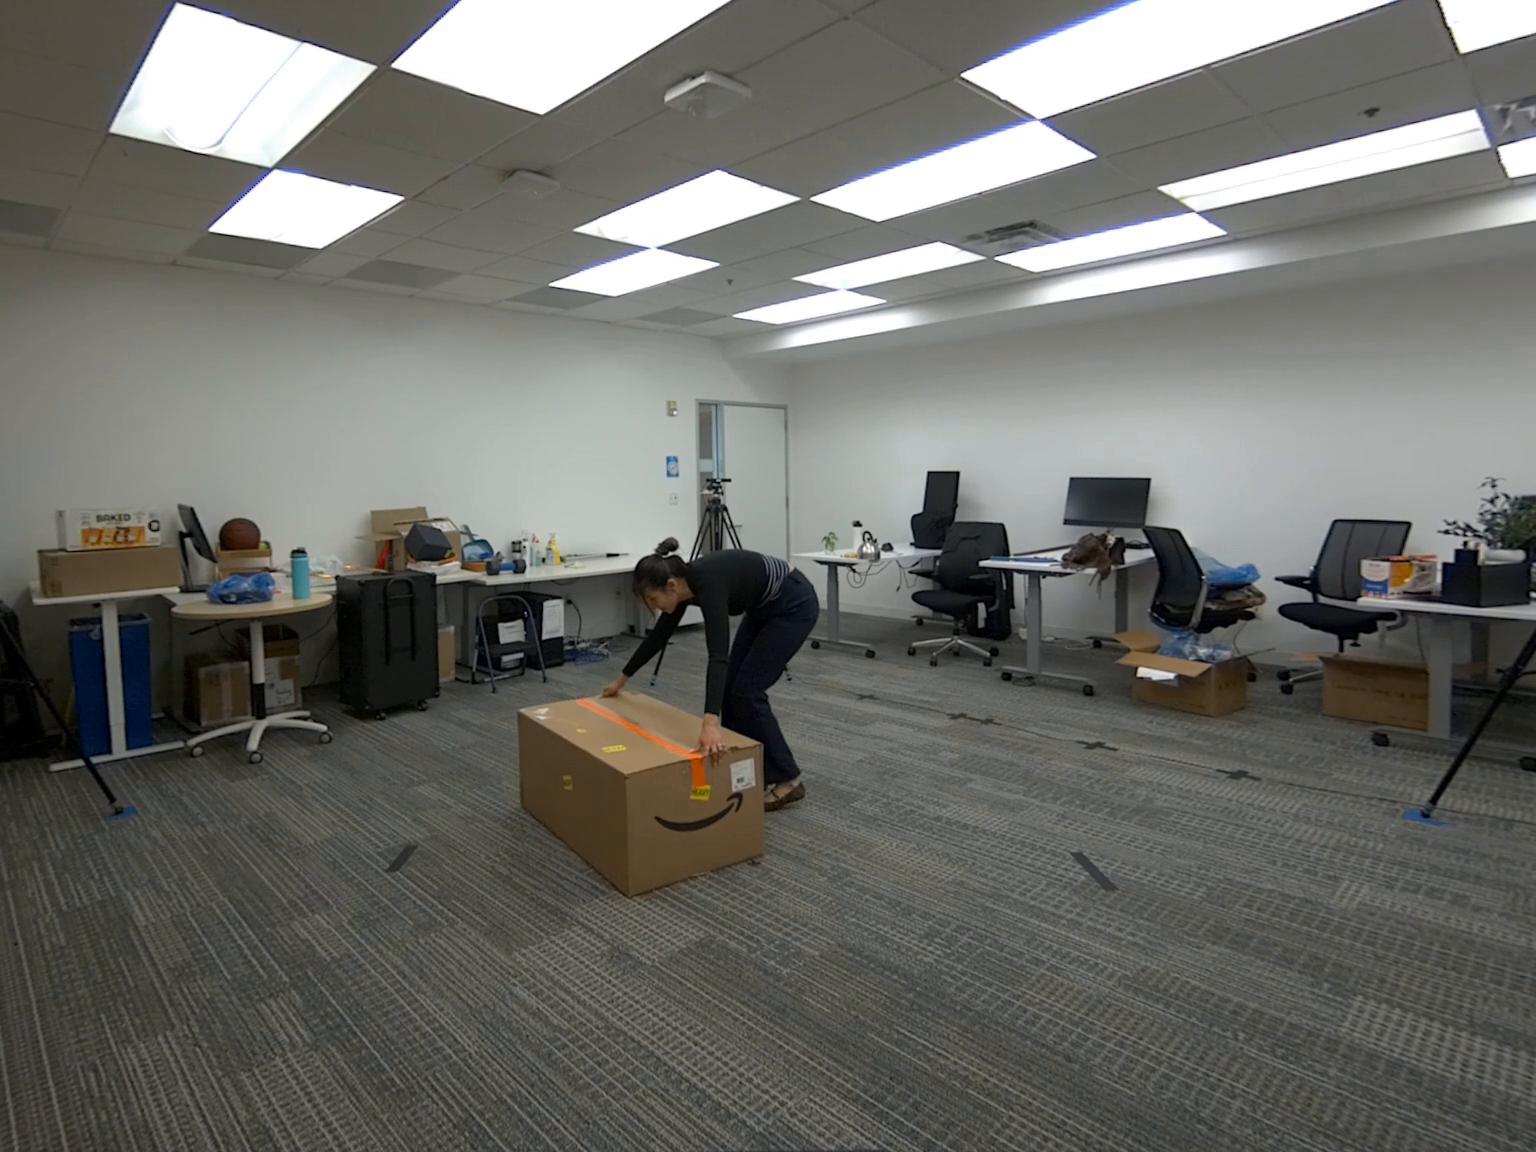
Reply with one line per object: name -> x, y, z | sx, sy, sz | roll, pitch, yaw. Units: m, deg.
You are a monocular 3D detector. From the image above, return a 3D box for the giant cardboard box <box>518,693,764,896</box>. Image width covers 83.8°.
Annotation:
giant cardboard box -> -0.544, 0.805, 3.422 | 0.563, 0.424, 1.056 | -5, 7, -35
